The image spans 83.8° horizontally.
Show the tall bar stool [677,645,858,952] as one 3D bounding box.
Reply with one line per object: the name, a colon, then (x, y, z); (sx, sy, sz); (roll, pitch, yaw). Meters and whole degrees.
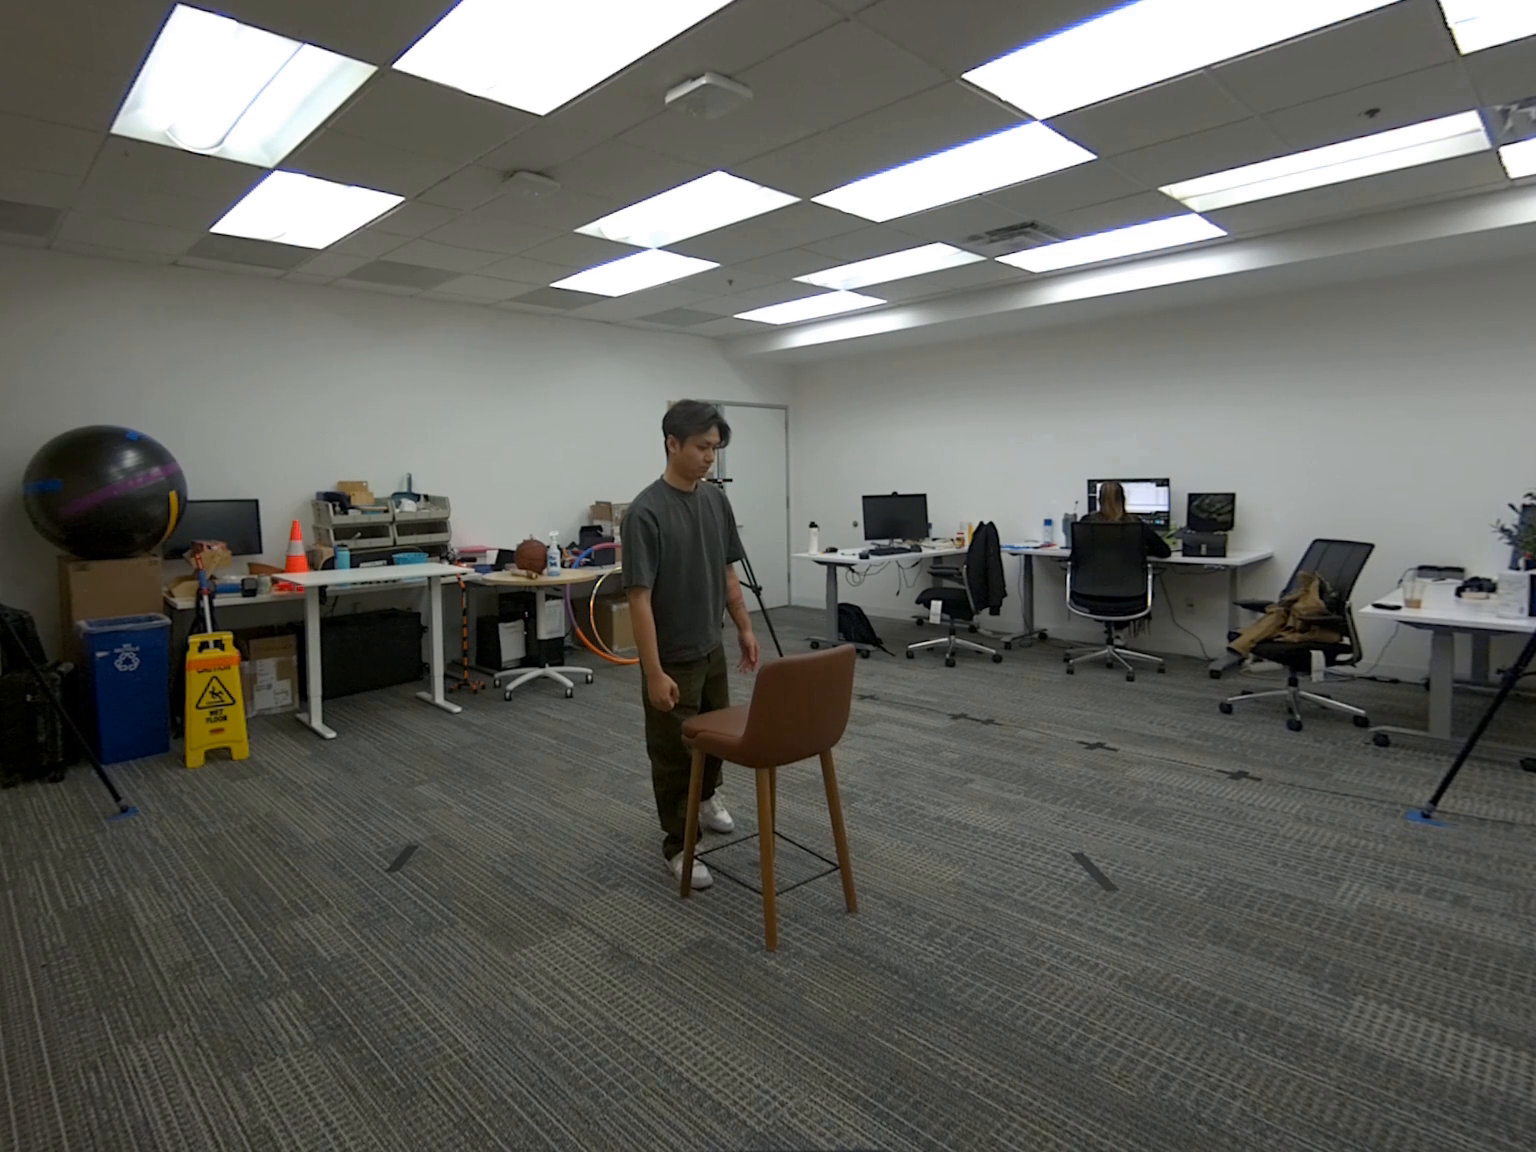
tall bar stool: (0.004, 0.641, 2.786); (0.444, 0.886, 0.482); (-4, 7, -39)
